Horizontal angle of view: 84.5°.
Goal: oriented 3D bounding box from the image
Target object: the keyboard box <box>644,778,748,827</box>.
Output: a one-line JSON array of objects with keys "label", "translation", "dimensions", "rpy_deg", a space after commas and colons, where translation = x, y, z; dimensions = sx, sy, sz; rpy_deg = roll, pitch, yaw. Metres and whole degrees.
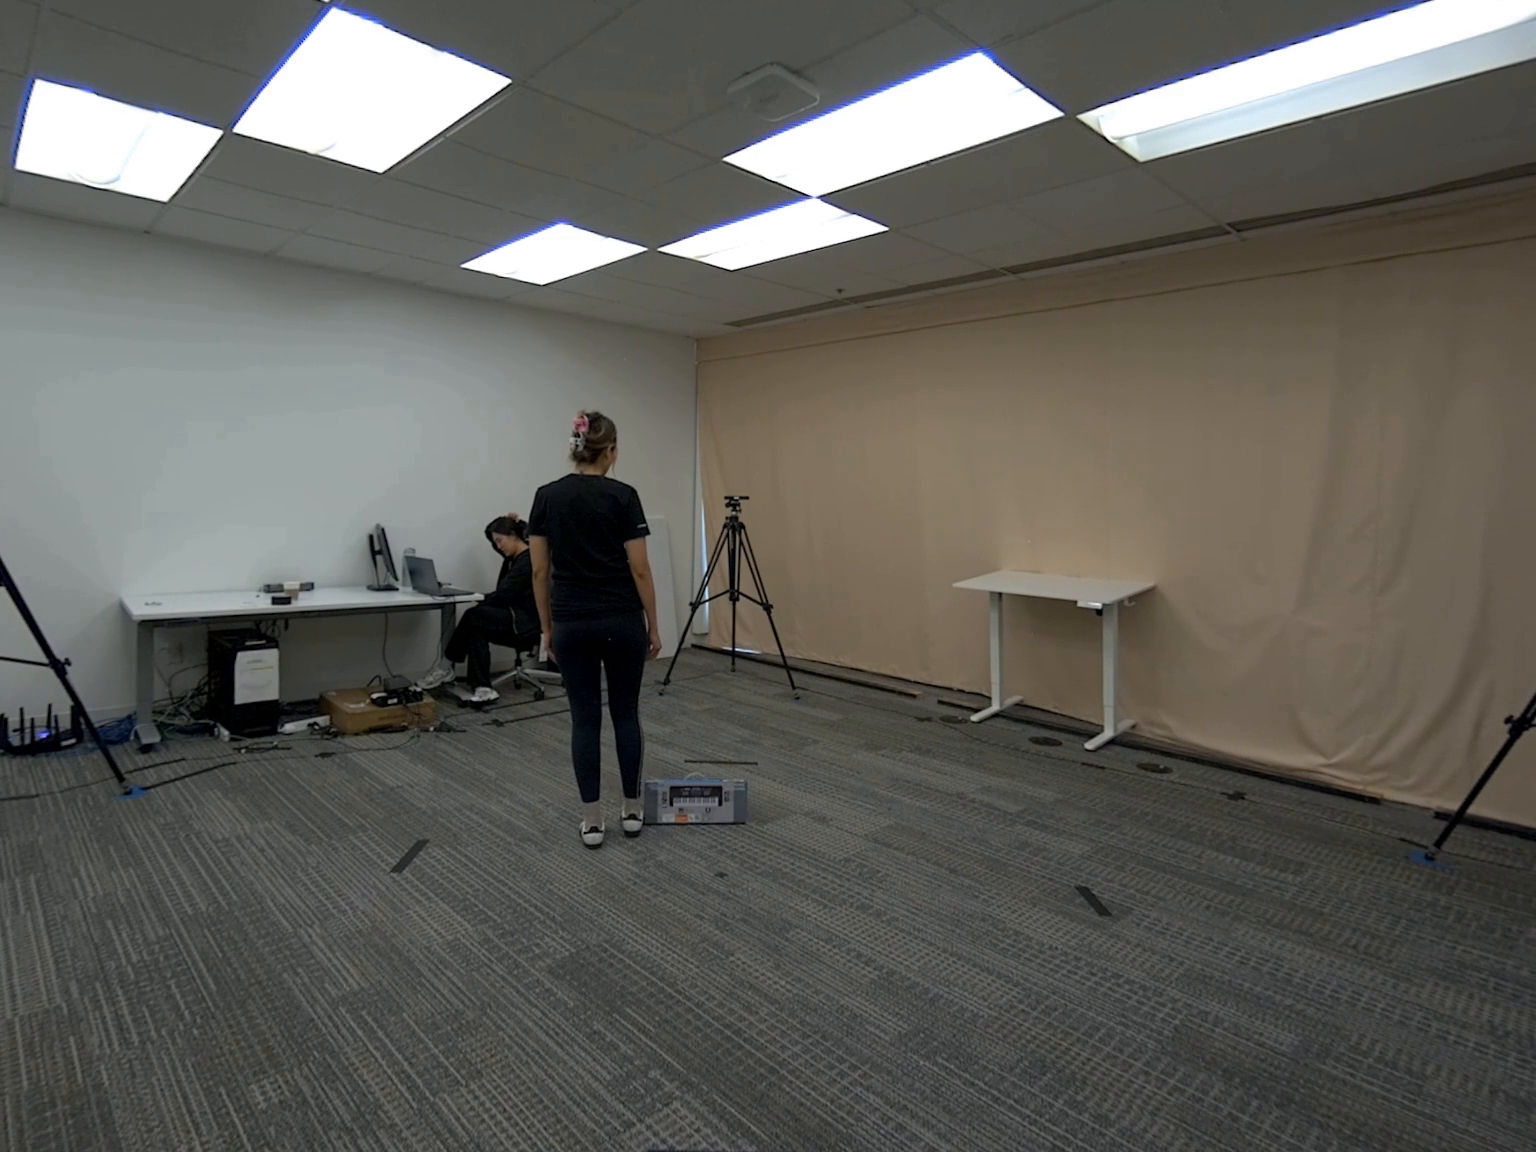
[{"label": "keyboard box", "translation": [-0.318, 0.968, 3.613], "dimensions": [0.435, 0.176, 0.059], "rpy_deg": [1, -4, -5]}]
